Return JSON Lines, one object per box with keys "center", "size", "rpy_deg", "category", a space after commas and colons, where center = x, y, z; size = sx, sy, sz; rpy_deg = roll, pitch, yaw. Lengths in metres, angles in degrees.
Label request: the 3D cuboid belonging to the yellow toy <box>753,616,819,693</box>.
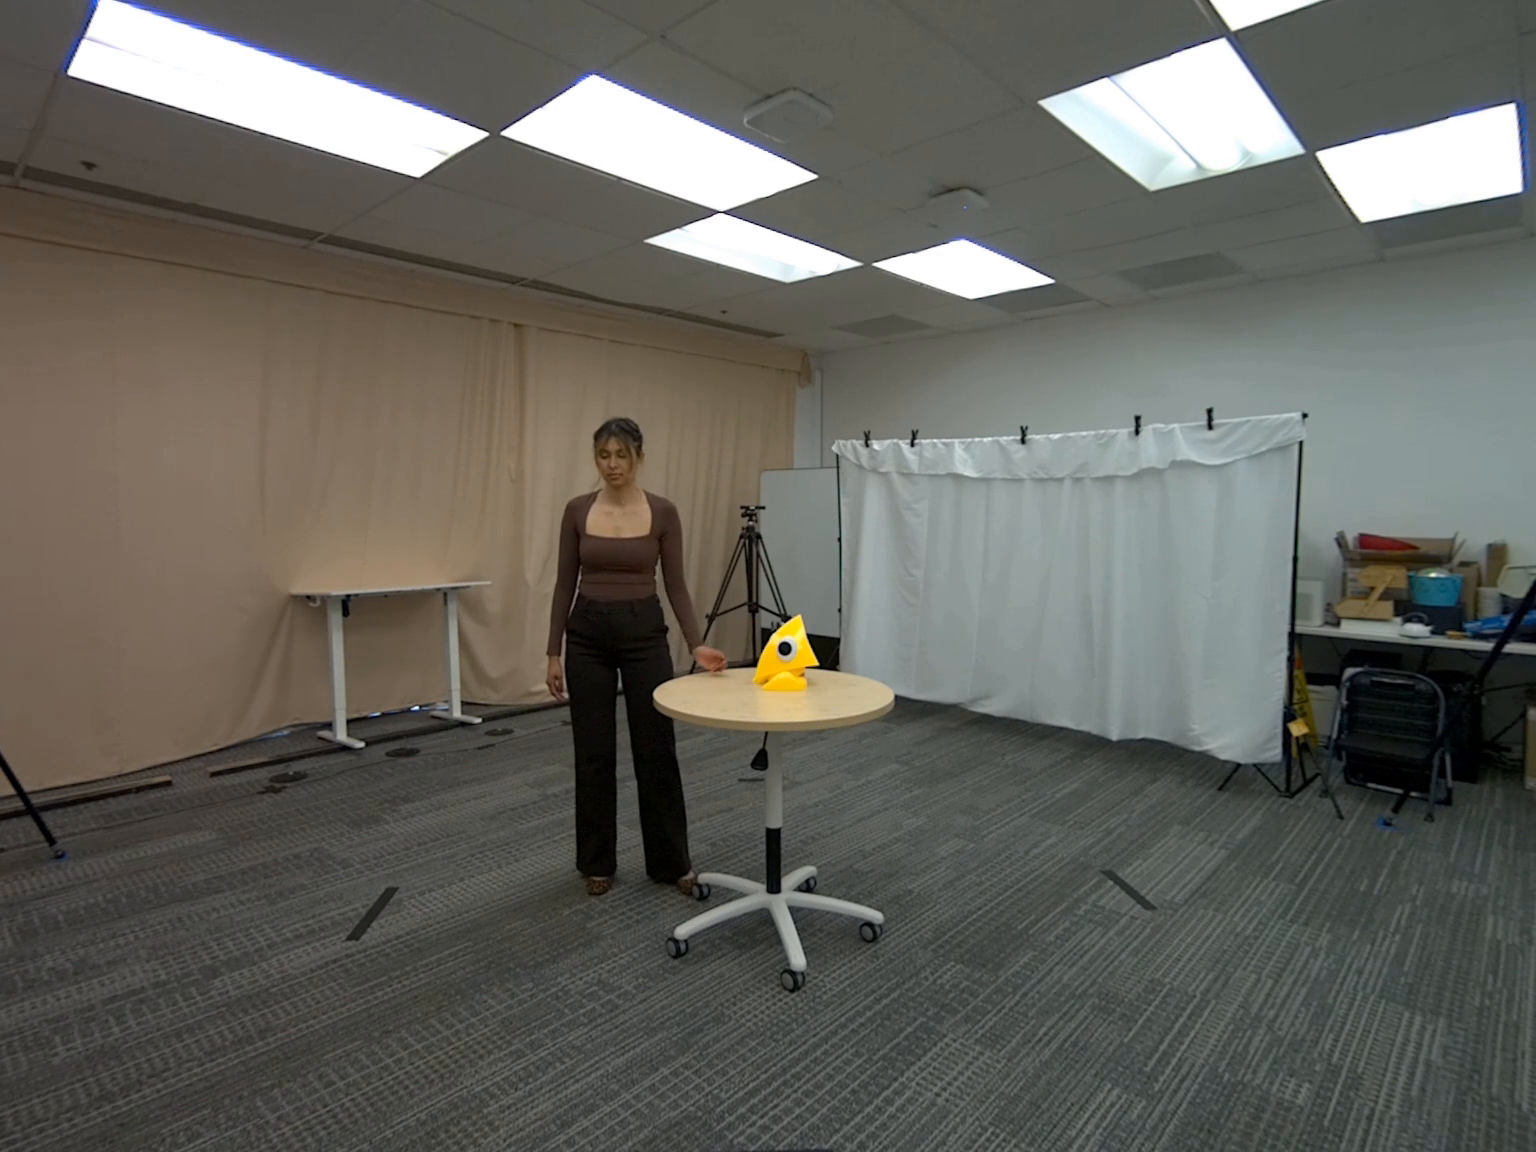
{"center": [0.053, 0.247, 2.792], "size": [0.190, 0.230, 0.208], "rpy_deg": [-1, 4, -15], "category": "yellow toy"}
